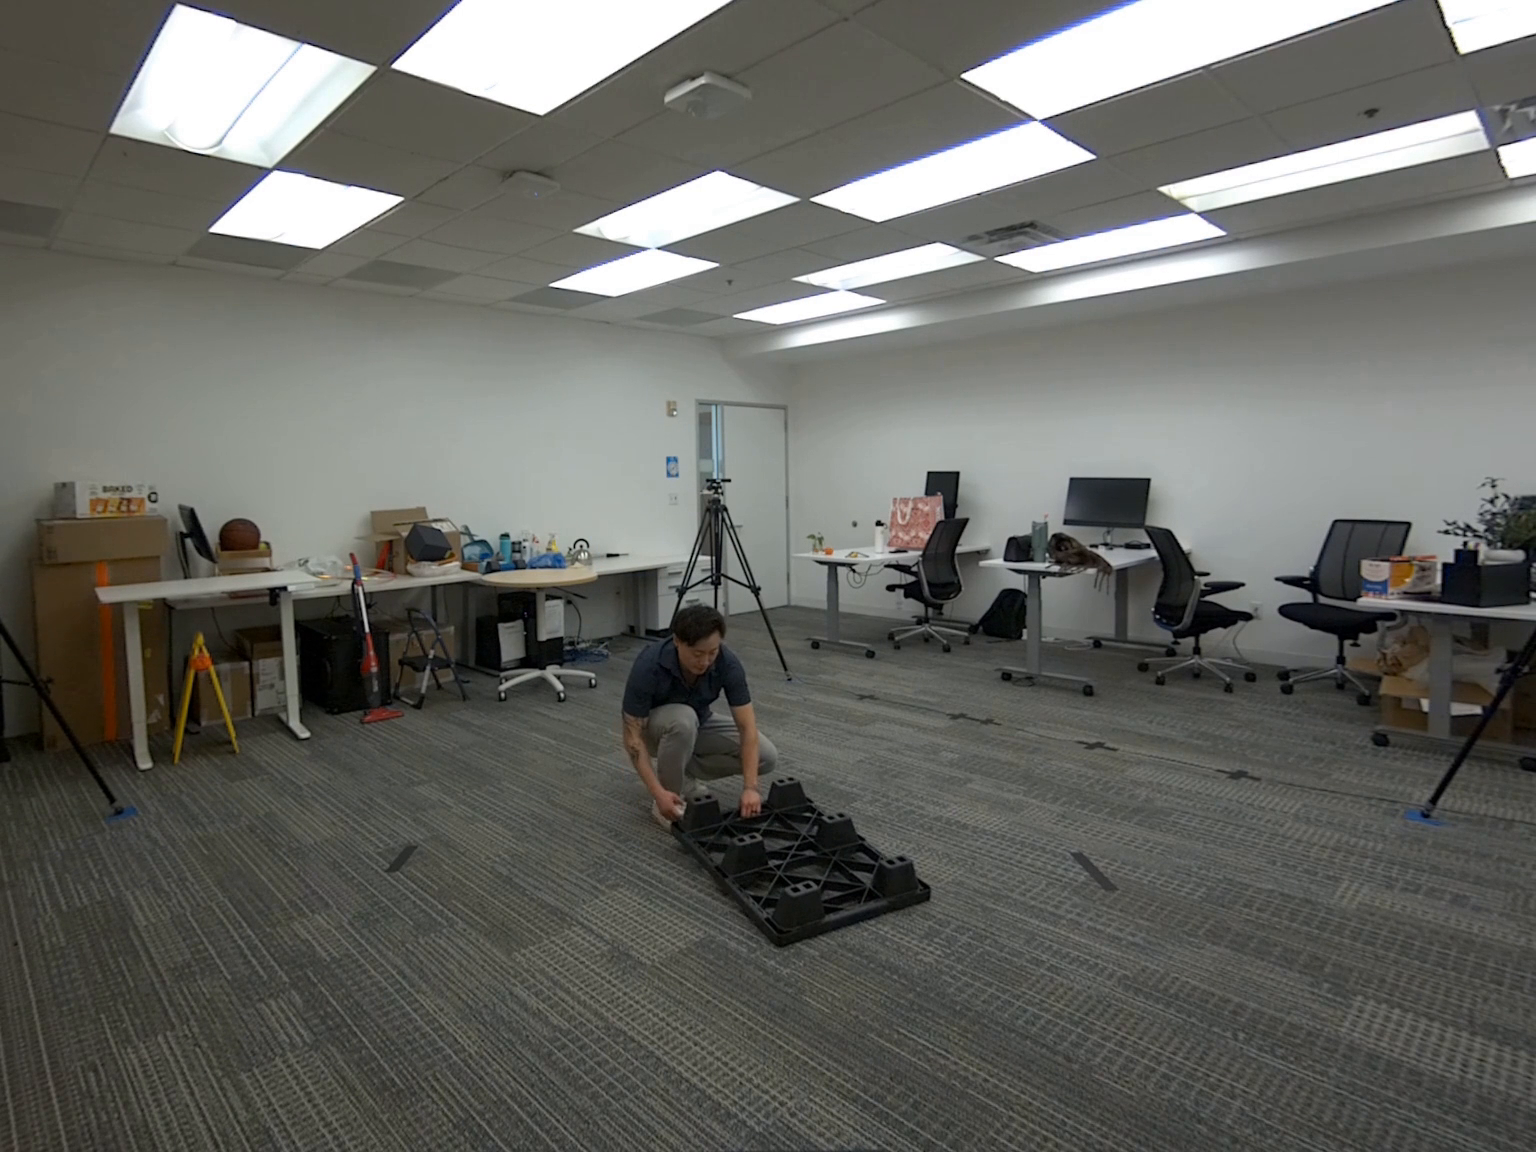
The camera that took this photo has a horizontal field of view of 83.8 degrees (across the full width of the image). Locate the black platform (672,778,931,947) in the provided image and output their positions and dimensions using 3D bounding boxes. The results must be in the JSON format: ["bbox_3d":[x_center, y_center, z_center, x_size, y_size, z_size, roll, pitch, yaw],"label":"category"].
[{"bbox_3d":[0.080,0.954,3.020,0.591,0.142,0.831,-5,12,-30],"label":"black platform"}]
